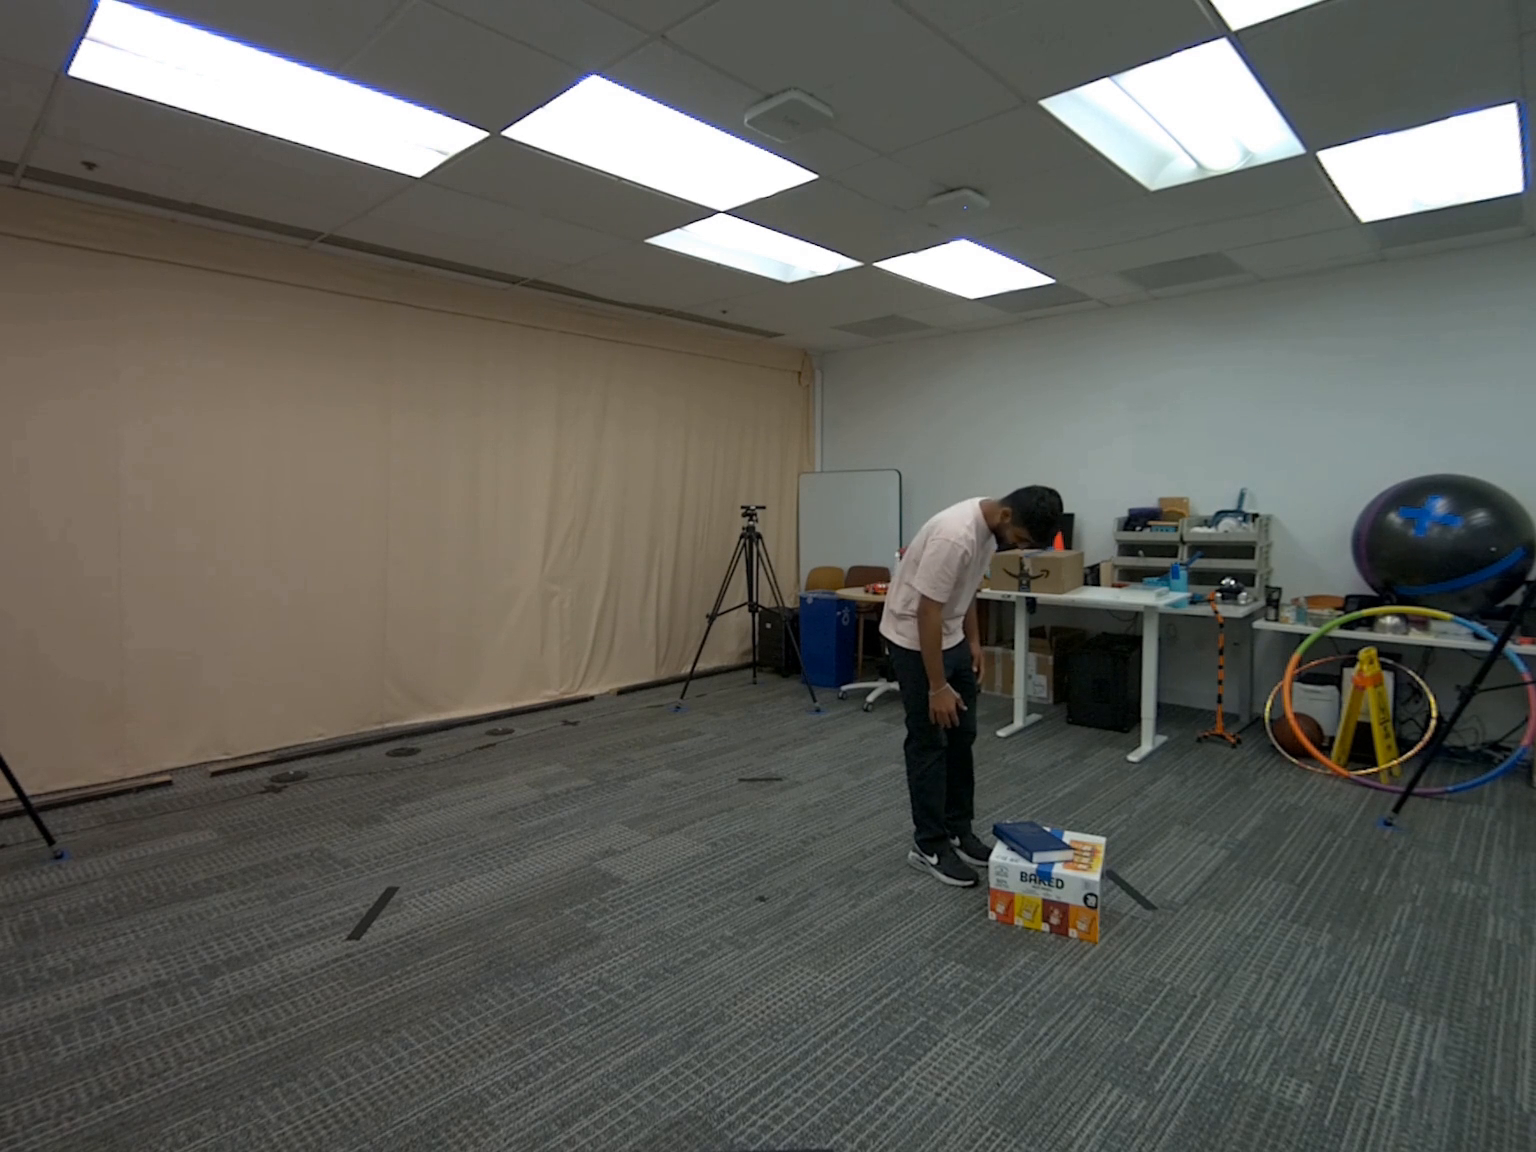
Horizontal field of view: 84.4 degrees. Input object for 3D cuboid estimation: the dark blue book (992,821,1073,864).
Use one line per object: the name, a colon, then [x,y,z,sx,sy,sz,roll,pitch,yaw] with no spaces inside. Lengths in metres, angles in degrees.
dark blue book: [0.937,0.931,2.930,0.161,0.045,0.250,0,5,-16]
